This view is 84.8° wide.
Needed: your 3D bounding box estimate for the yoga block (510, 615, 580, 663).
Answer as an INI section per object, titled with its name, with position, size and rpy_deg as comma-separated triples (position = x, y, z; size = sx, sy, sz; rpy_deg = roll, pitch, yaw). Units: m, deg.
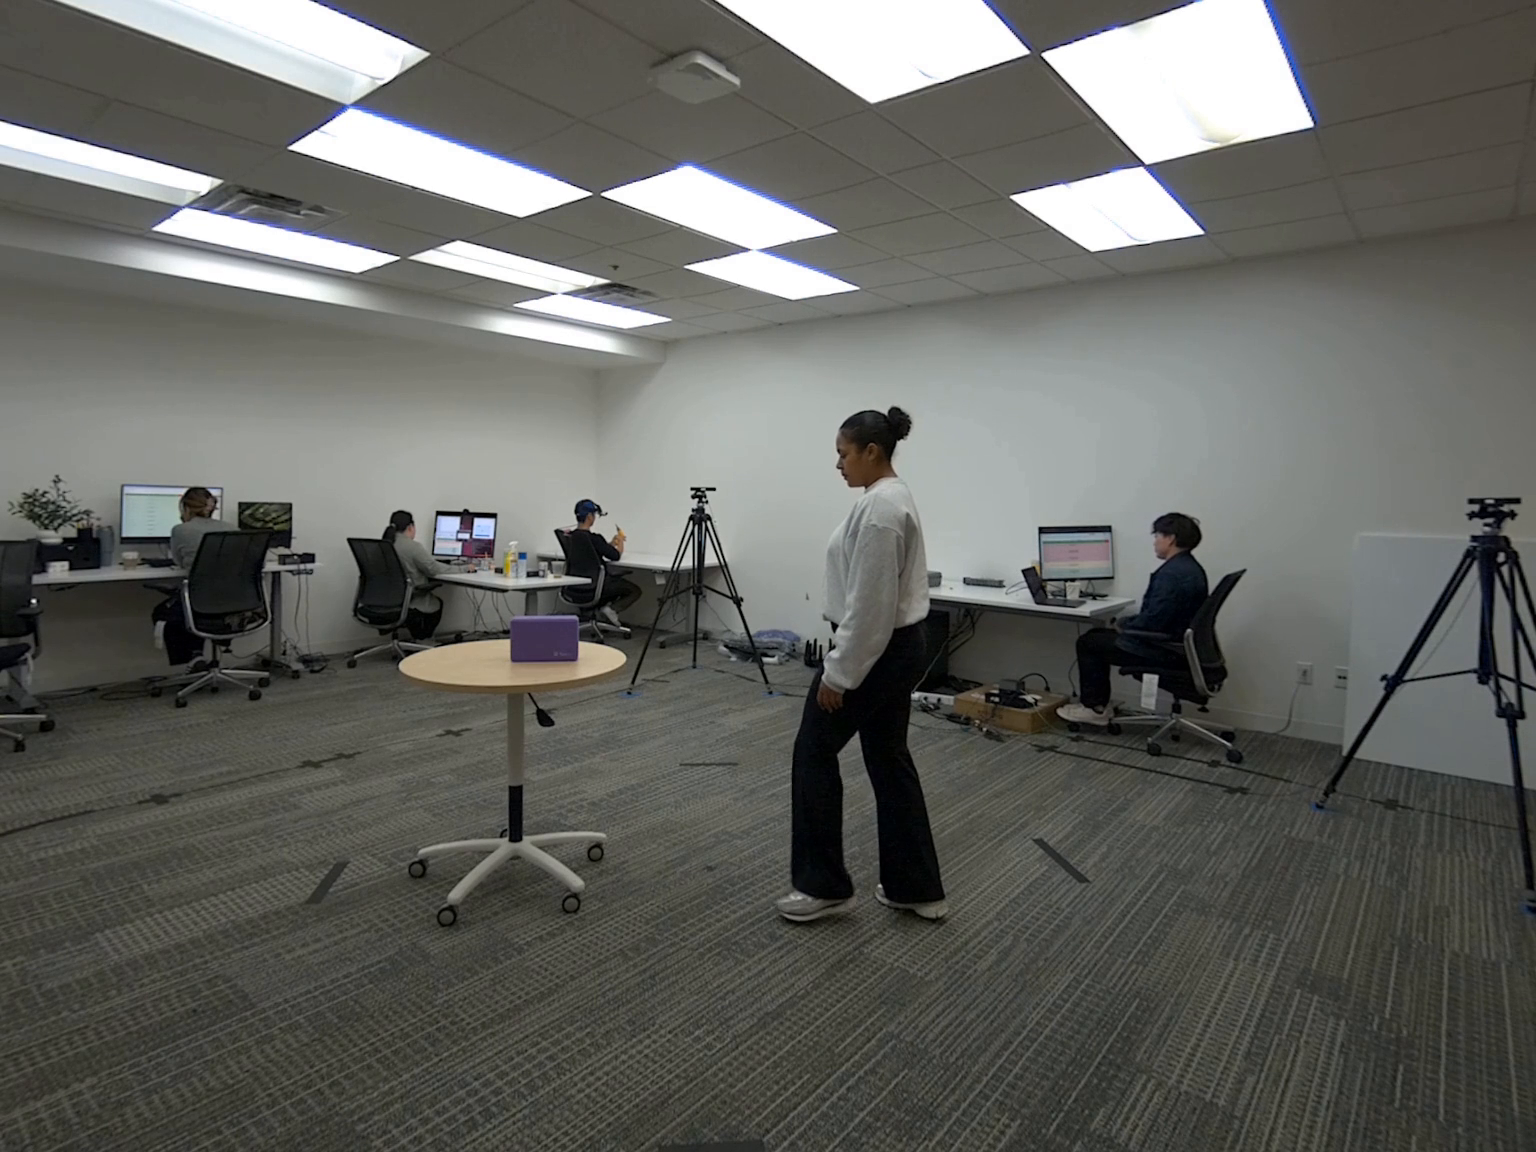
[yoga block]
position = -0.785, 0.219, 2.952
size = 0.228, 0.148, 0.077
rpy_deg = 0, 5, -4
